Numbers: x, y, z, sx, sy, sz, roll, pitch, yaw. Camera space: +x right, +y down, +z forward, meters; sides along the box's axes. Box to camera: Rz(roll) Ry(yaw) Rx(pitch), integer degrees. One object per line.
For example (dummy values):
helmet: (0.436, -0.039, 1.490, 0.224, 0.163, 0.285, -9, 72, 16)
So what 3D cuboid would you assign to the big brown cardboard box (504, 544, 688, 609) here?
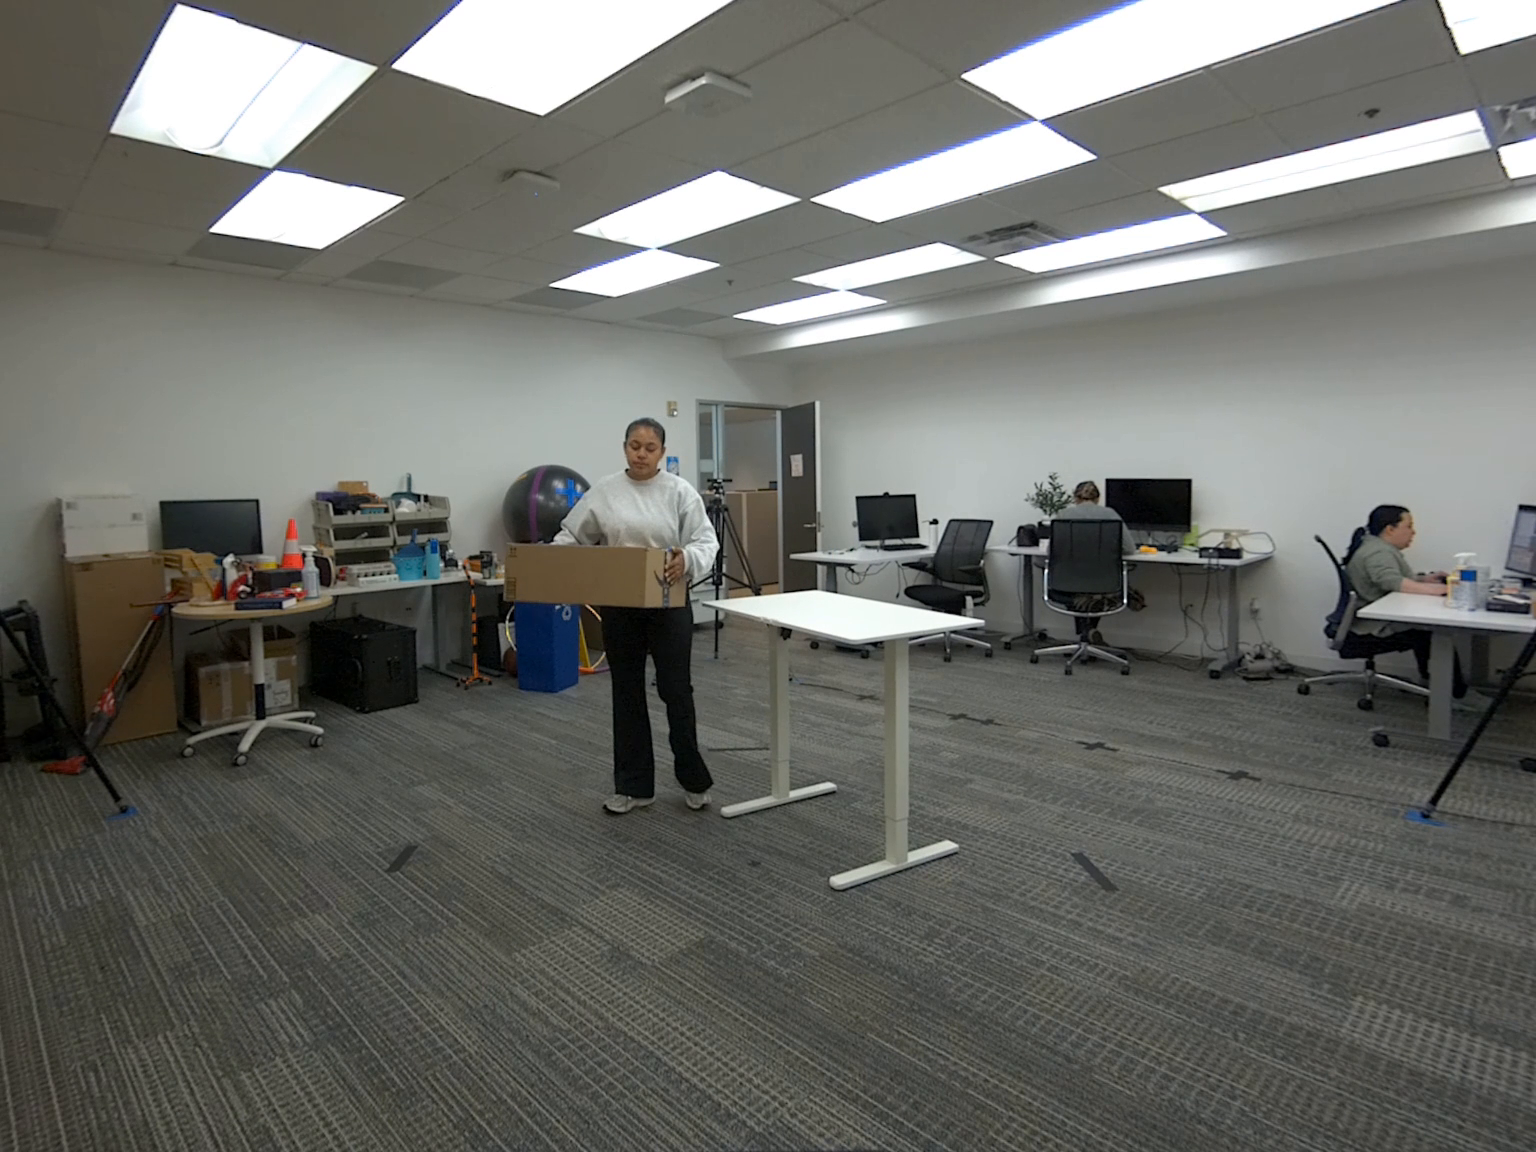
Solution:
big brown cardboard box: (-0.649, 0.003, 3.275, 0.599, 0.233, 0.410, 3, 0, 16)
